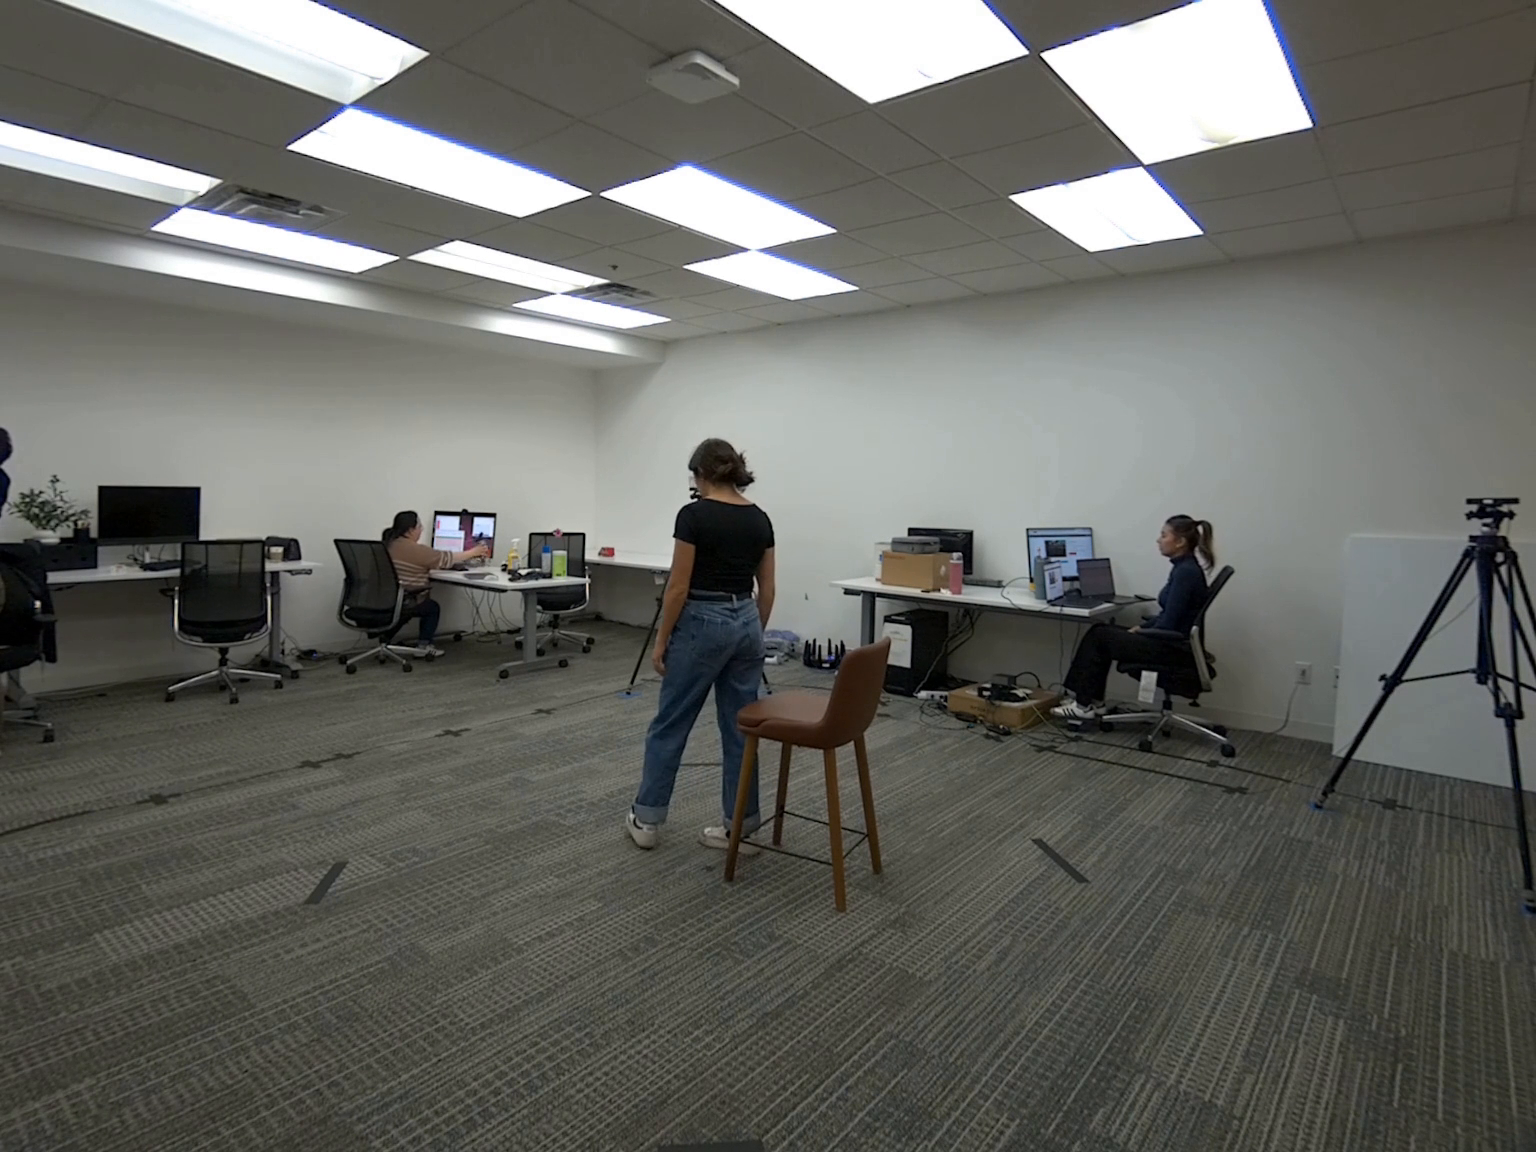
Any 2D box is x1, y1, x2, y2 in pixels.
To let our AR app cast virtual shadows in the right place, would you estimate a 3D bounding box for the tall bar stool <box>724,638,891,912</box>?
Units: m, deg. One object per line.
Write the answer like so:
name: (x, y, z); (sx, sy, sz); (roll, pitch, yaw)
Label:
tall bar stool: (0.143, 0.647, 3.046); (0.481, 0.886, 0.445); (5, 5, 29)
